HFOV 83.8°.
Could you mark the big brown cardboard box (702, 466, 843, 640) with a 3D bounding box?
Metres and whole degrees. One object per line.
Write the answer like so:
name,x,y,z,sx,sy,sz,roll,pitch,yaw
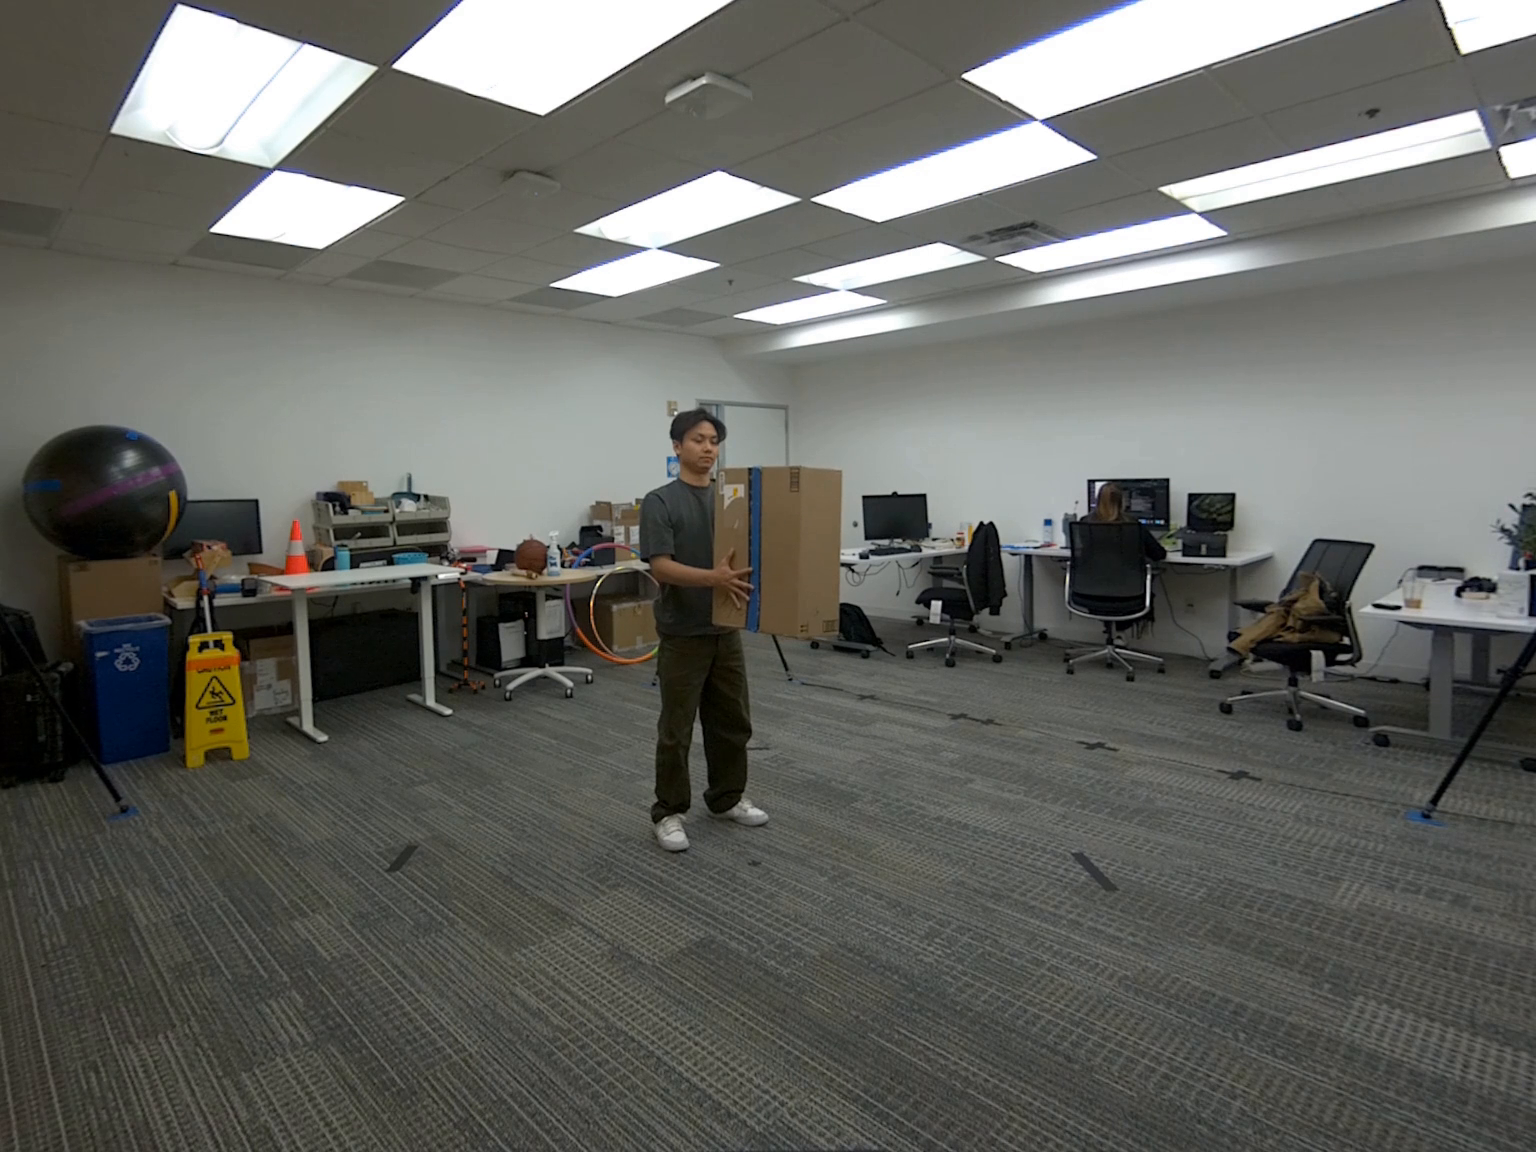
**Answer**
big brown cardboard box,0.029,-0.094,3.002,0.226,0.589,0.430,0,1,-44
